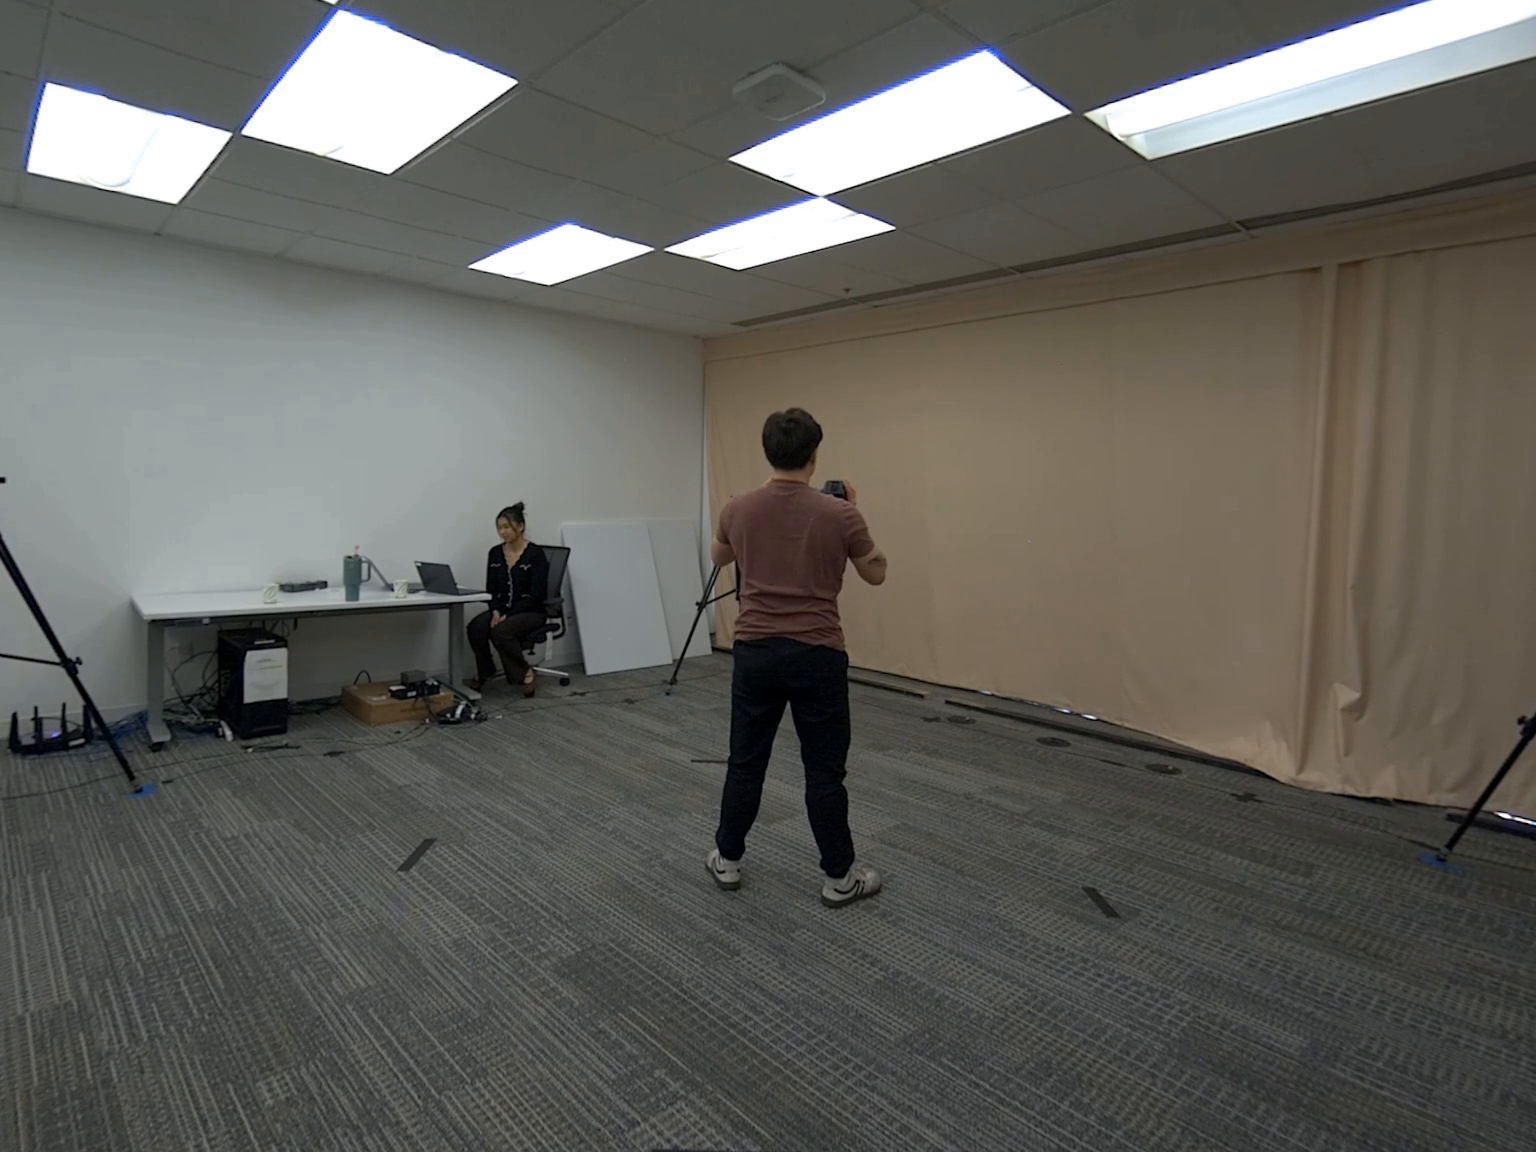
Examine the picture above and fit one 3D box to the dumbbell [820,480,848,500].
[{"bbox_3d":[0.144,-0.285,3.070,0.298,0.125,0.105,1,-39,18],"label":"dumbbell"}]
